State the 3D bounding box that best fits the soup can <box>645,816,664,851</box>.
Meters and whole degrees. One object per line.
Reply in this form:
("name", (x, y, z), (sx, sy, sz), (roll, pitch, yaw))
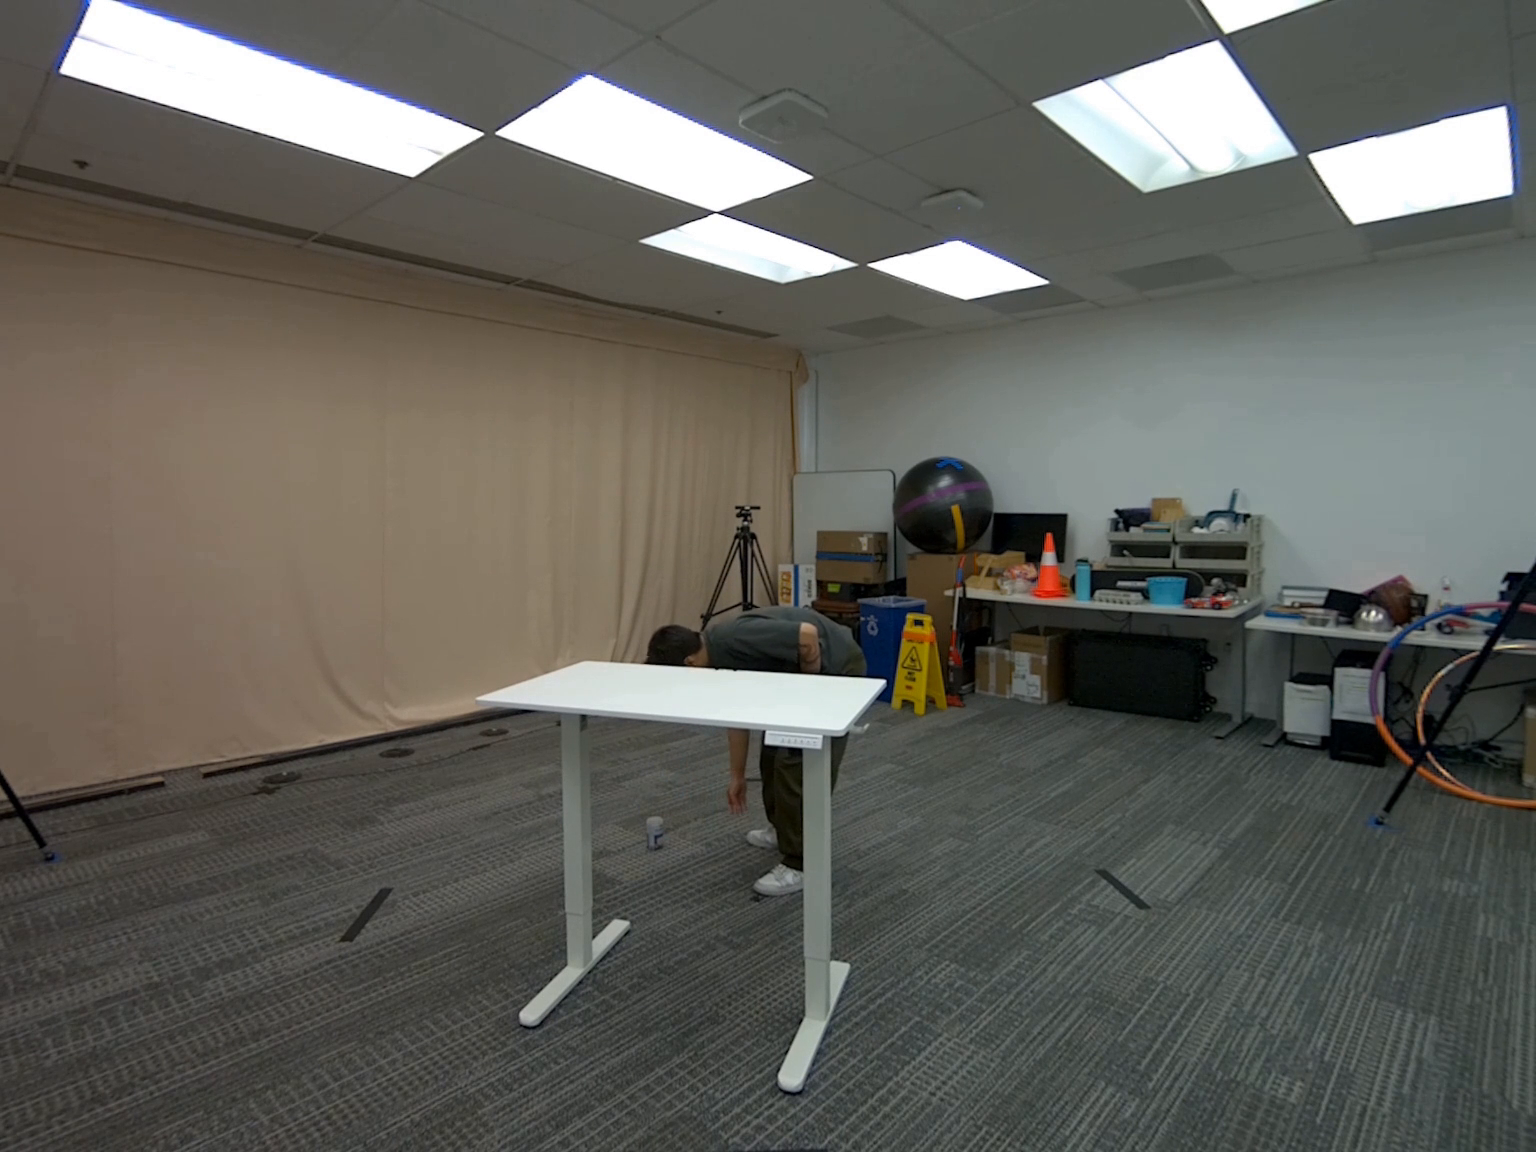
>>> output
("soup can", (-0.459, 1.059, 3.443), (0.067, 0.121, 0.067), (-4, 0, -2))
